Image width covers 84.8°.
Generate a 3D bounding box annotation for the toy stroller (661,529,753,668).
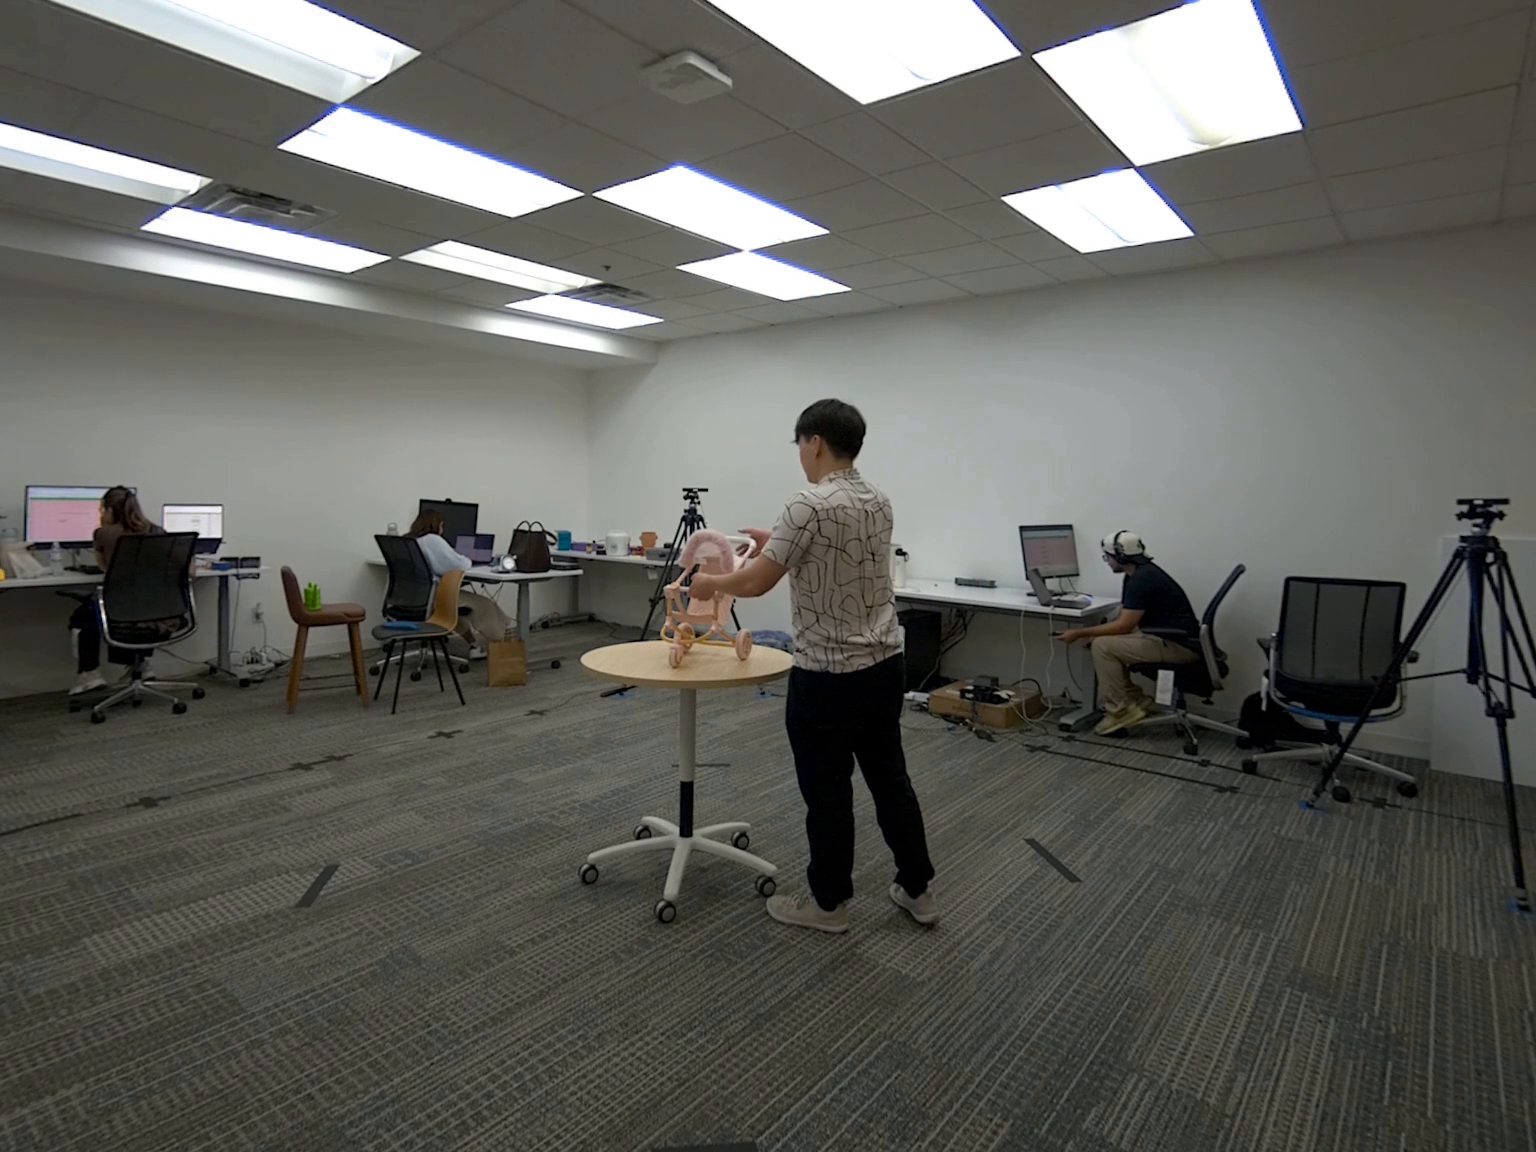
[{"bbox_3d":[-0.237,0.068,3.027,0.290,0.540,0.328,2,-13,31],"label":"toy stroller"}]
